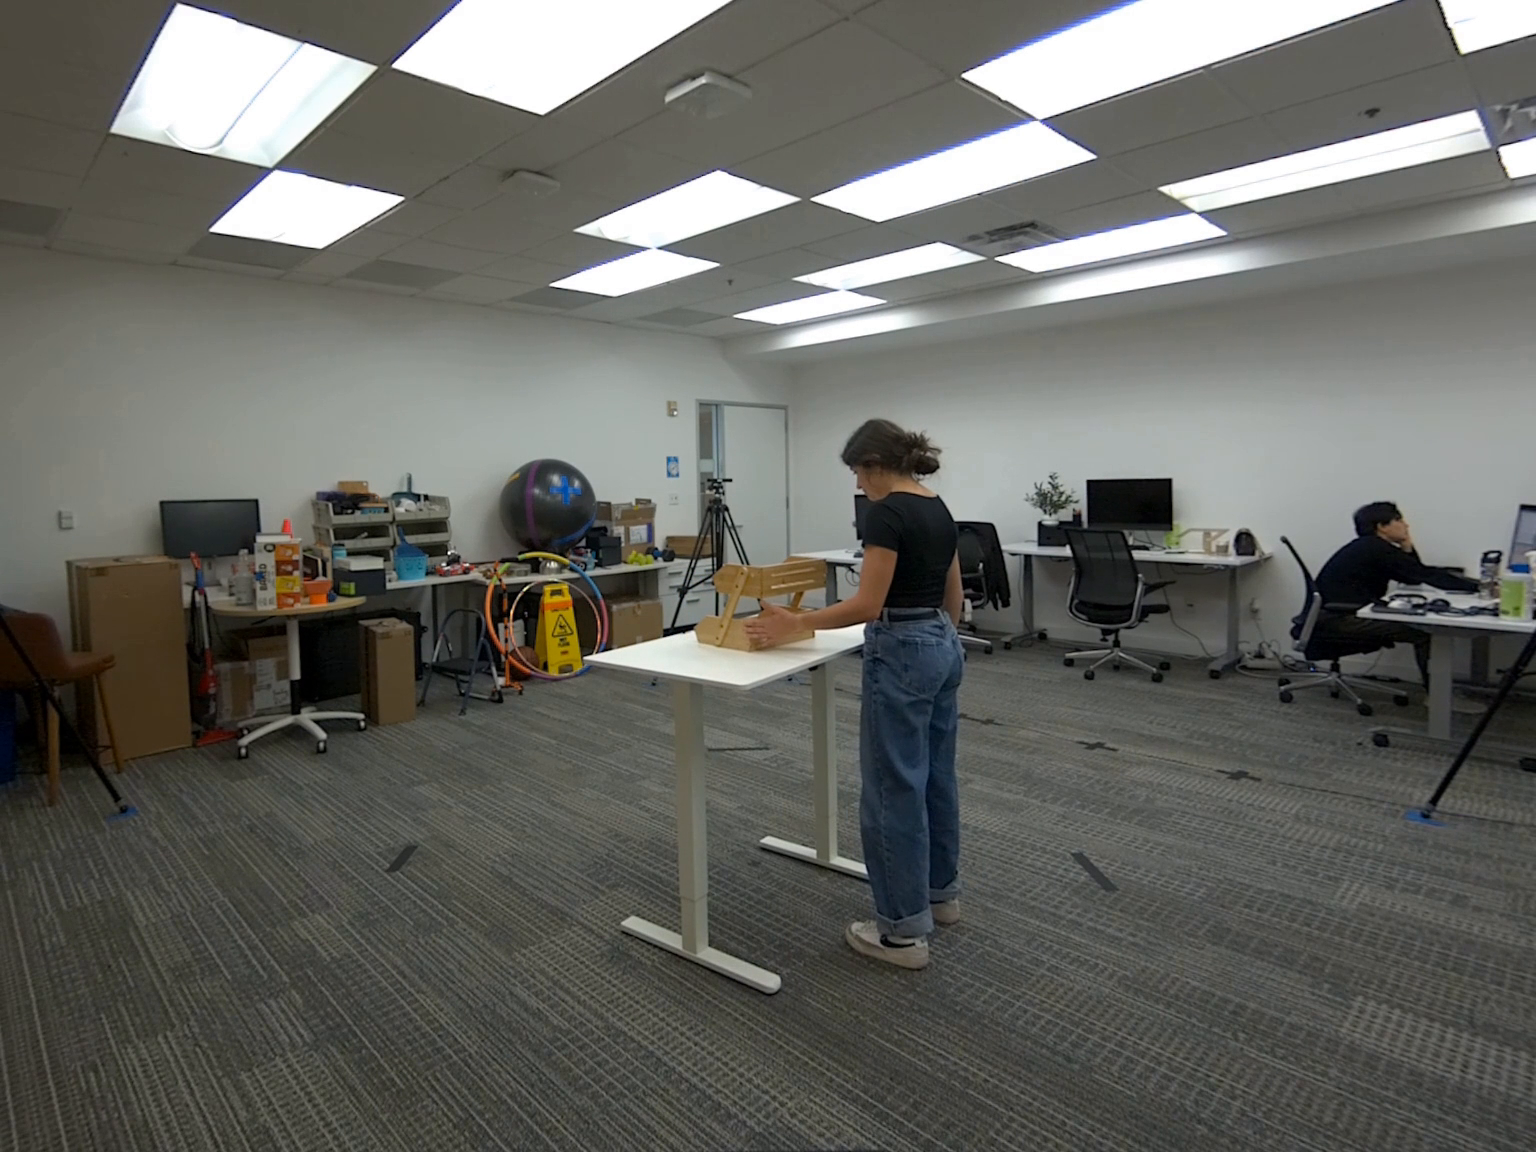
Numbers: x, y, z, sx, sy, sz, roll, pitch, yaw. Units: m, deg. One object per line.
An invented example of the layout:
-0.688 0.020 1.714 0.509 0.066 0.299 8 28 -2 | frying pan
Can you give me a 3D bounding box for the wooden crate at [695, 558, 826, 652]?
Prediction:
-0.017 0.073 2.713 0.316 0.272 0.311 -7 9 -44 | wooden crate
